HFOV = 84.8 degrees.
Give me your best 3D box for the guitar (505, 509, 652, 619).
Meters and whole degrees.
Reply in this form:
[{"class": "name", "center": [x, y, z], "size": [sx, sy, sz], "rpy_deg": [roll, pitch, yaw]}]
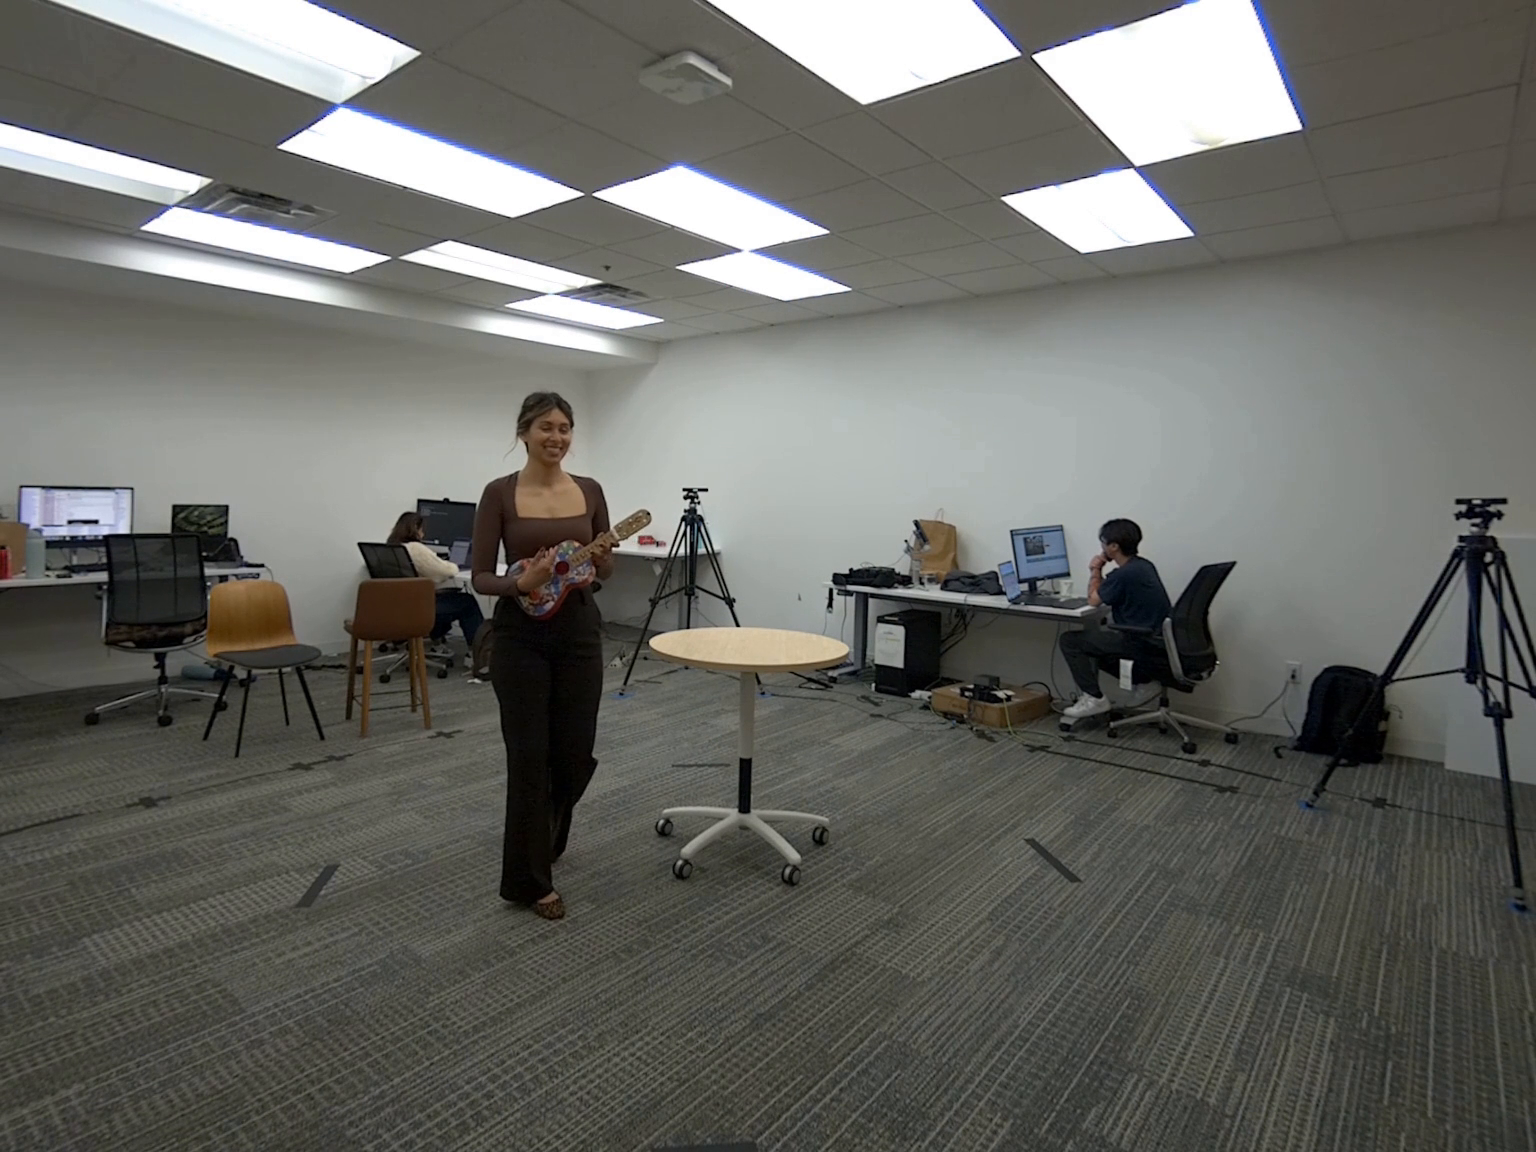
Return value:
[{"class": "guitar", "center": [-0.582, -0.037, 2.717], "size": [0.496, 0.197, 0.069], "rpy_deg": [-25, -14, -6]}]
